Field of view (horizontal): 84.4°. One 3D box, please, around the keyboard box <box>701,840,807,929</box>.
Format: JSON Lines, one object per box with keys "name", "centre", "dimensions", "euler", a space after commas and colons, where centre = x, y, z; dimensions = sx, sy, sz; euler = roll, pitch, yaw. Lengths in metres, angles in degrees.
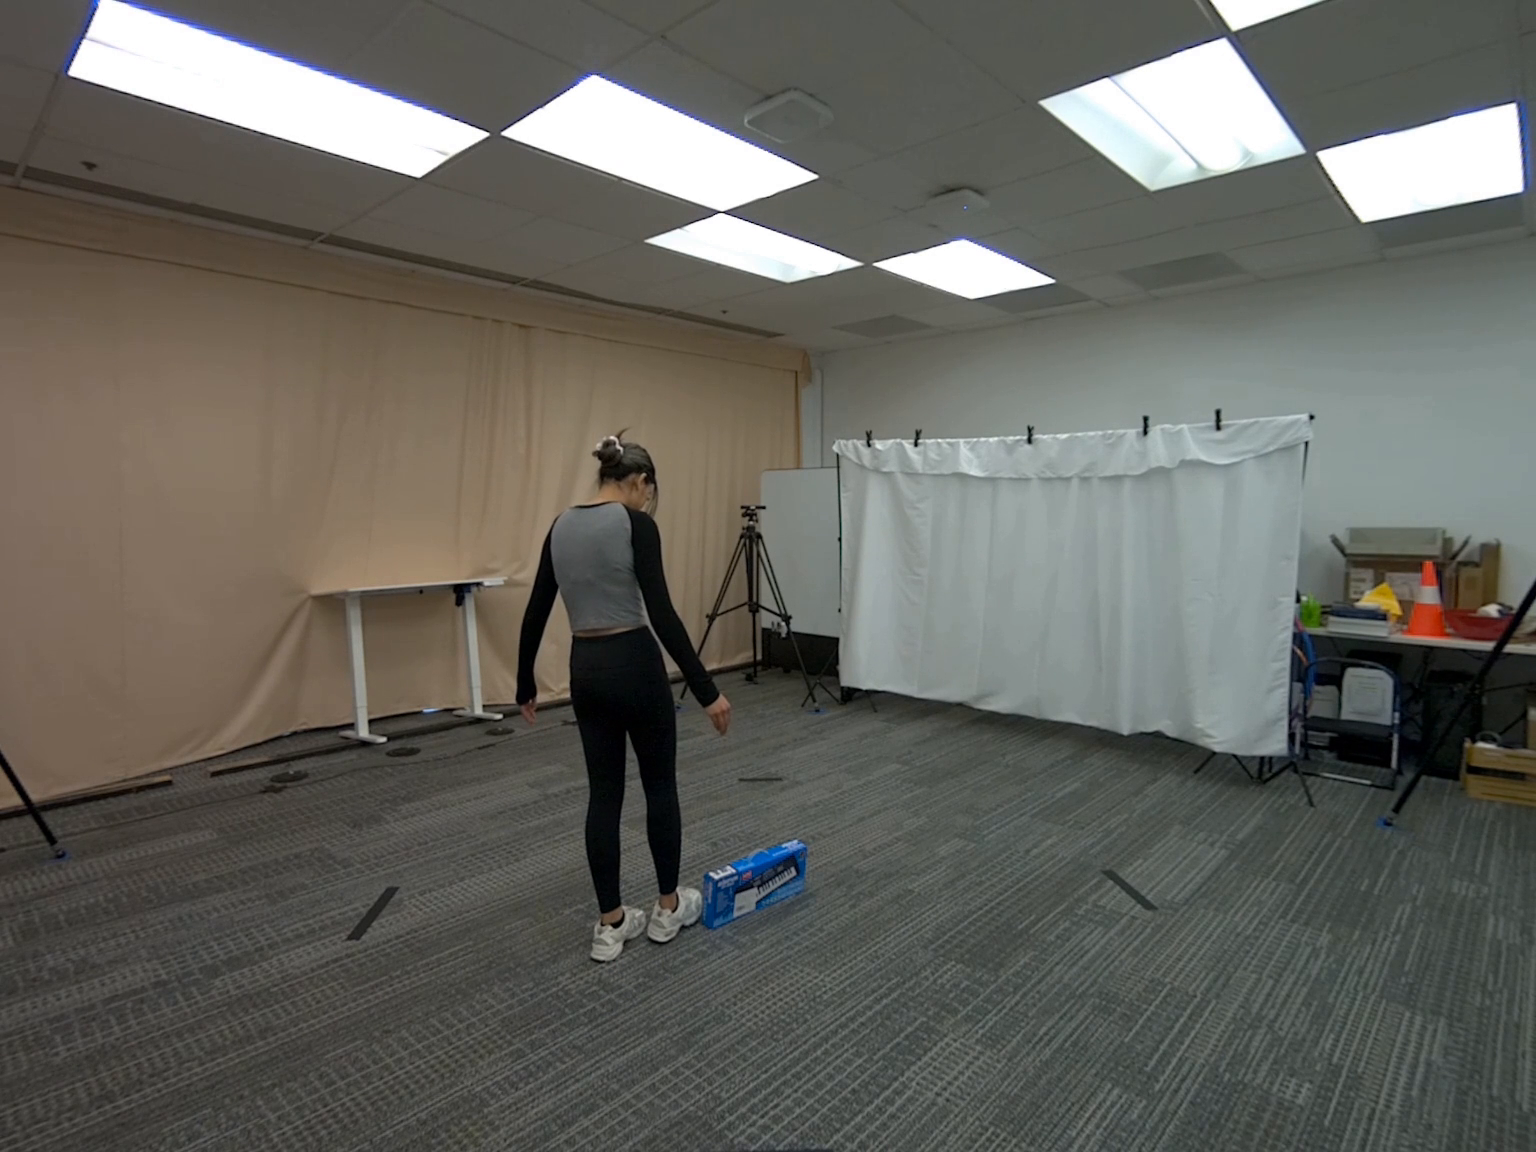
{"name": "keyboard box", "centre": [-0.039, 1.064, 2.914], "dimensions": [0.423, 0.175, 0.061], "euler": [-4, 11, -42]}
